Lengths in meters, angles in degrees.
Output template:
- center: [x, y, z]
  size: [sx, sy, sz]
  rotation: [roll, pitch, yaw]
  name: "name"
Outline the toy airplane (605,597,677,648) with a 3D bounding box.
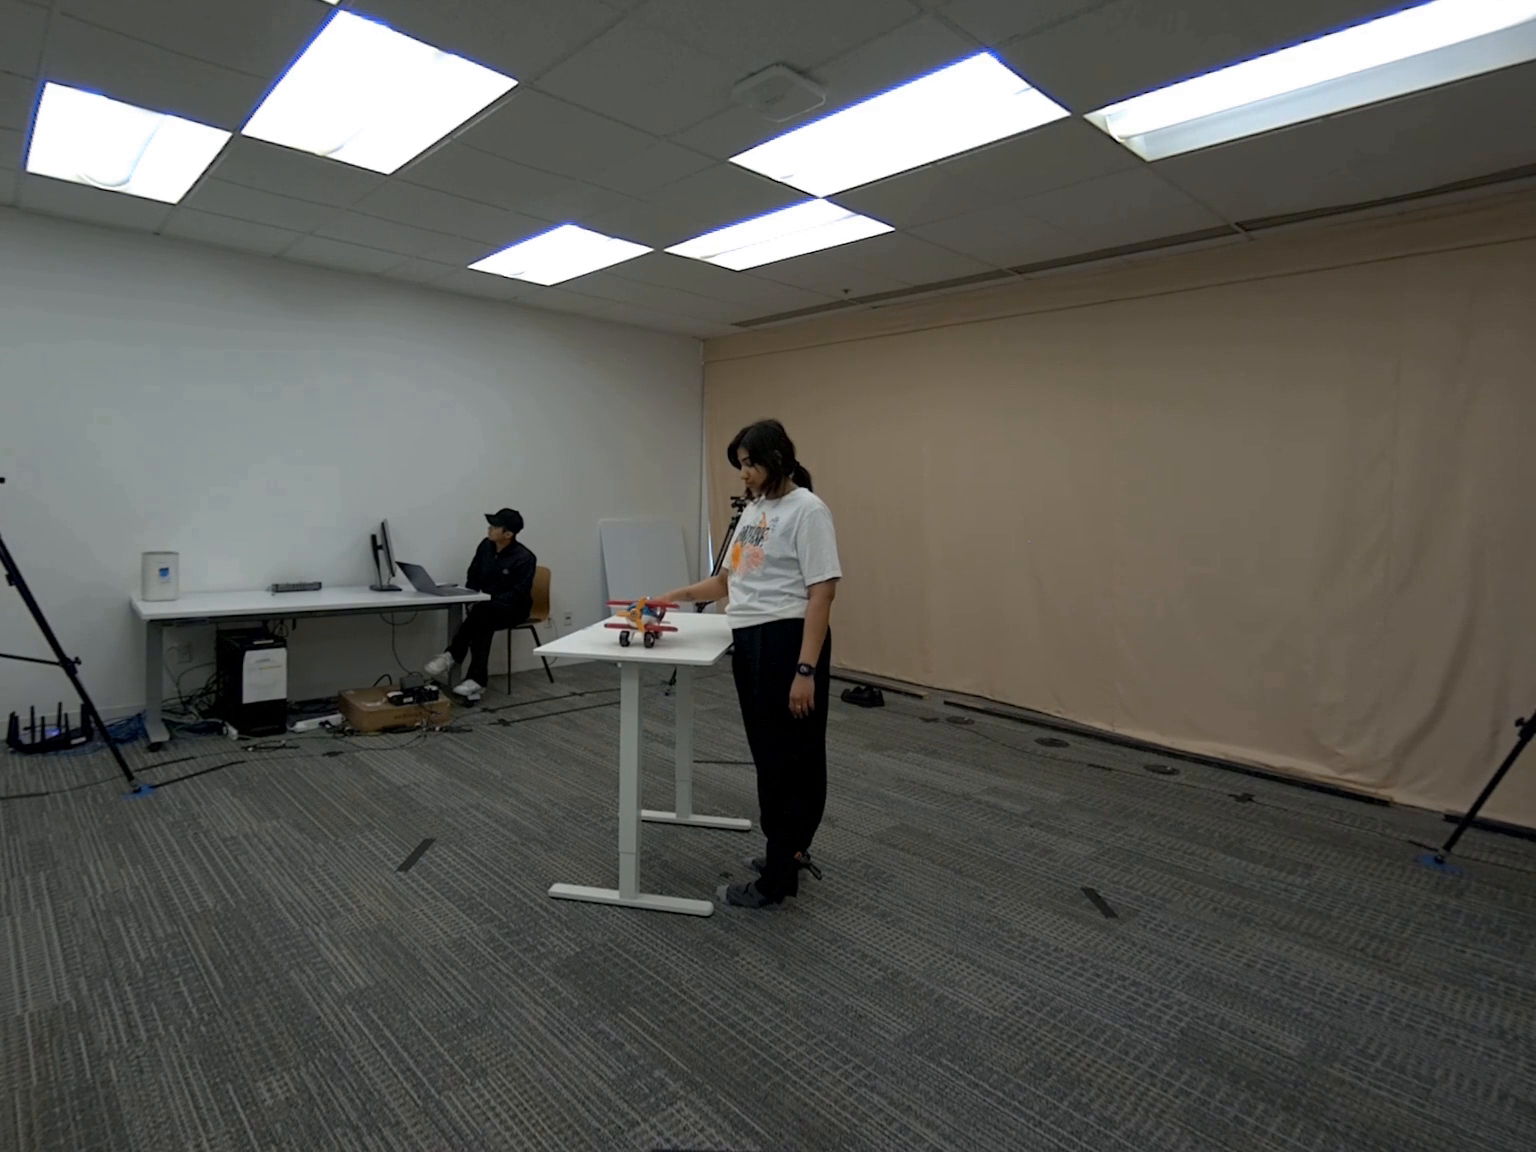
- center: [-0.451, 0.157, 2.922]
  size: [0.248, 0.156, 0.263]
  rotation: [-1, 5, -17]
  name: "toy airplane"
